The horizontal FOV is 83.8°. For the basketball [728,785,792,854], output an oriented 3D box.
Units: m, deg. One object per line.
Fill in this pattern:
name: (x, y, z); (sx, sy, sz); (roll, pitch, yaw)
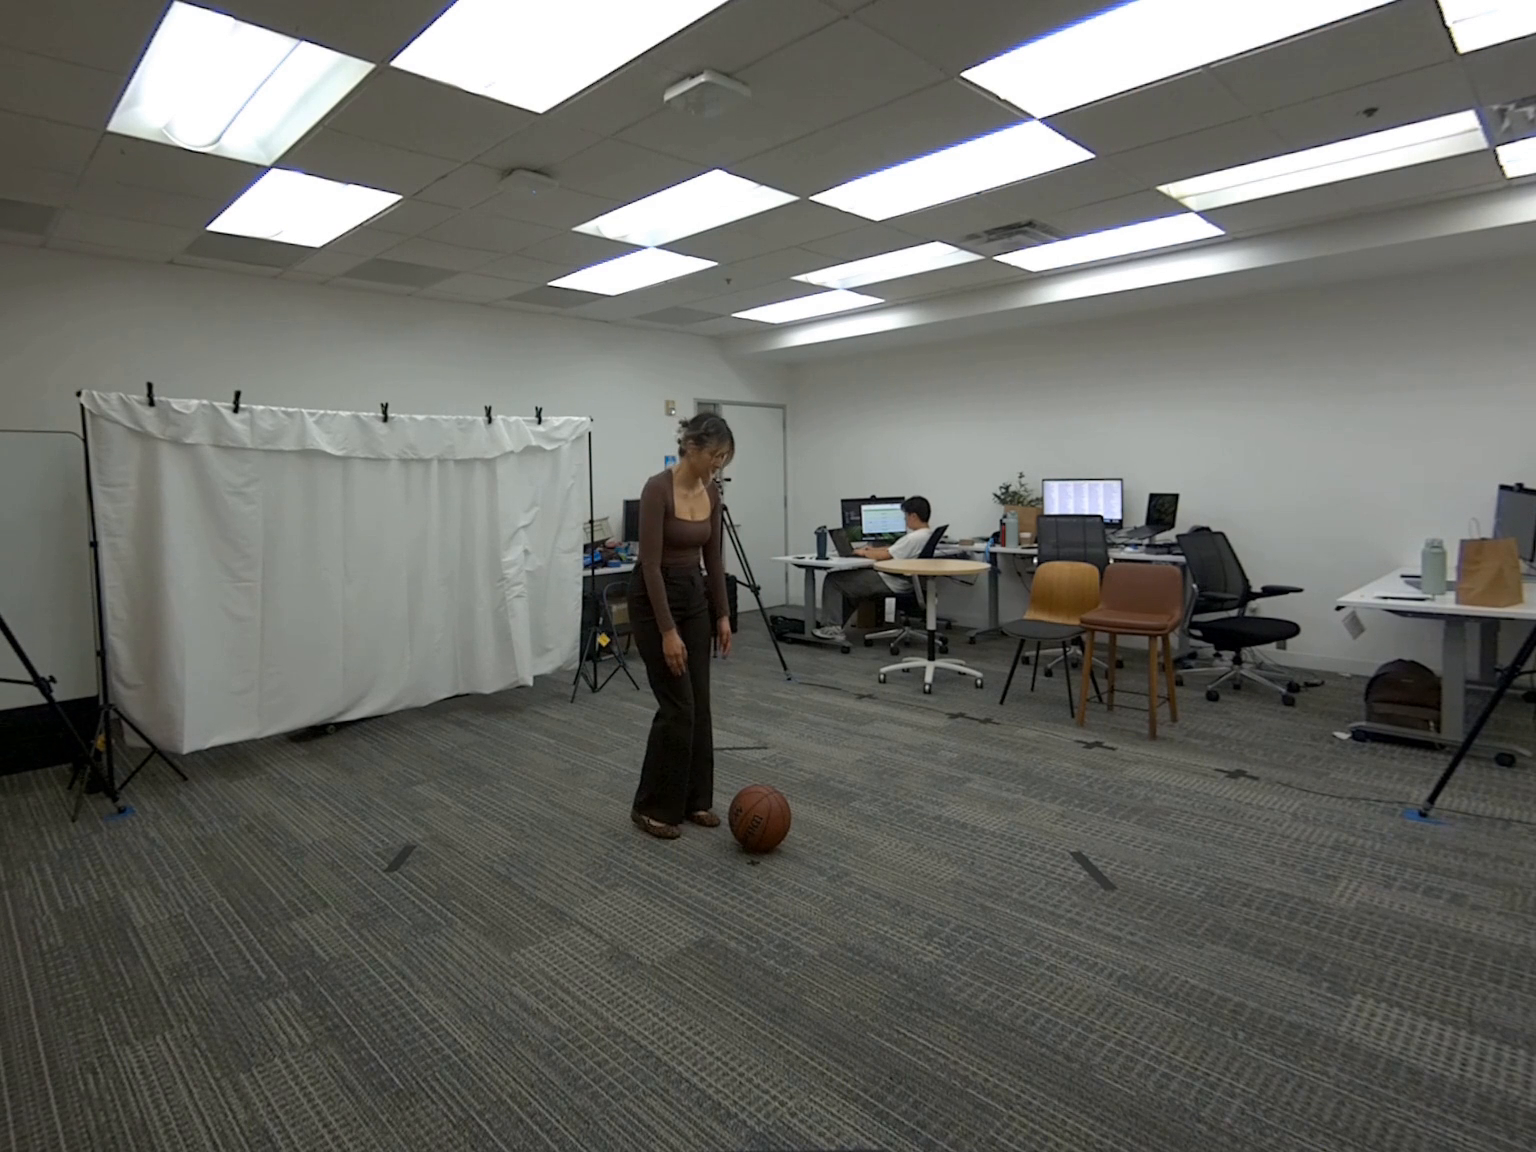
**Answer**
basketball: (-0.028, 0.908, 3.221); (0.236, 0.235, 0.237); (-1, 5, -2)
